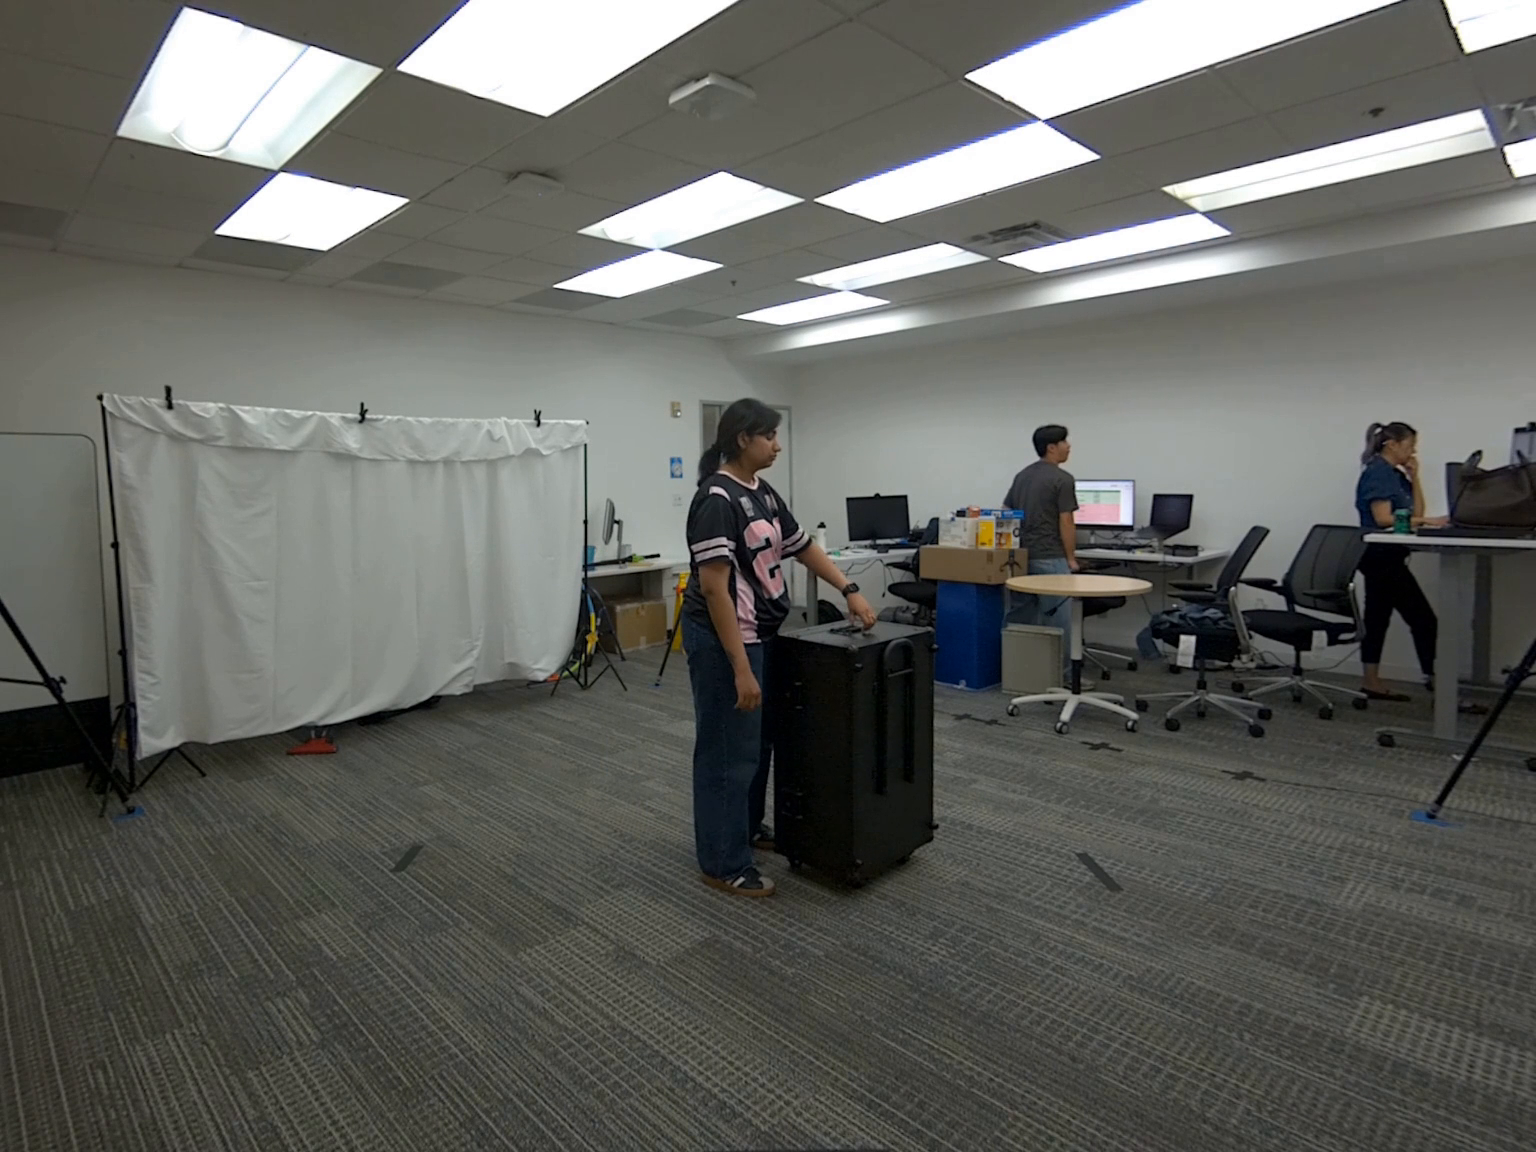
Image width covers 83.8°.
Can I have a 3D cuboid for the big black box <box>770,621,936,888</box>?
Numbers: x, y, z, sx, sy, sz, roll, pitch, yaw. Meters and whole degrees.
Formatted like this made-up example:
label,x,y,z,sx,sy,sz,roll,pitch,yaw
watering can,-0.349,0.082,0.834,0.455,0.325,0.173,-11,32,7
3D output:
label,x,y,z,sx,sy,sz,roll,pitch,yaw
big black box,0.320,0.622,3.064,0.397,0.865,0.510,4,7,44
